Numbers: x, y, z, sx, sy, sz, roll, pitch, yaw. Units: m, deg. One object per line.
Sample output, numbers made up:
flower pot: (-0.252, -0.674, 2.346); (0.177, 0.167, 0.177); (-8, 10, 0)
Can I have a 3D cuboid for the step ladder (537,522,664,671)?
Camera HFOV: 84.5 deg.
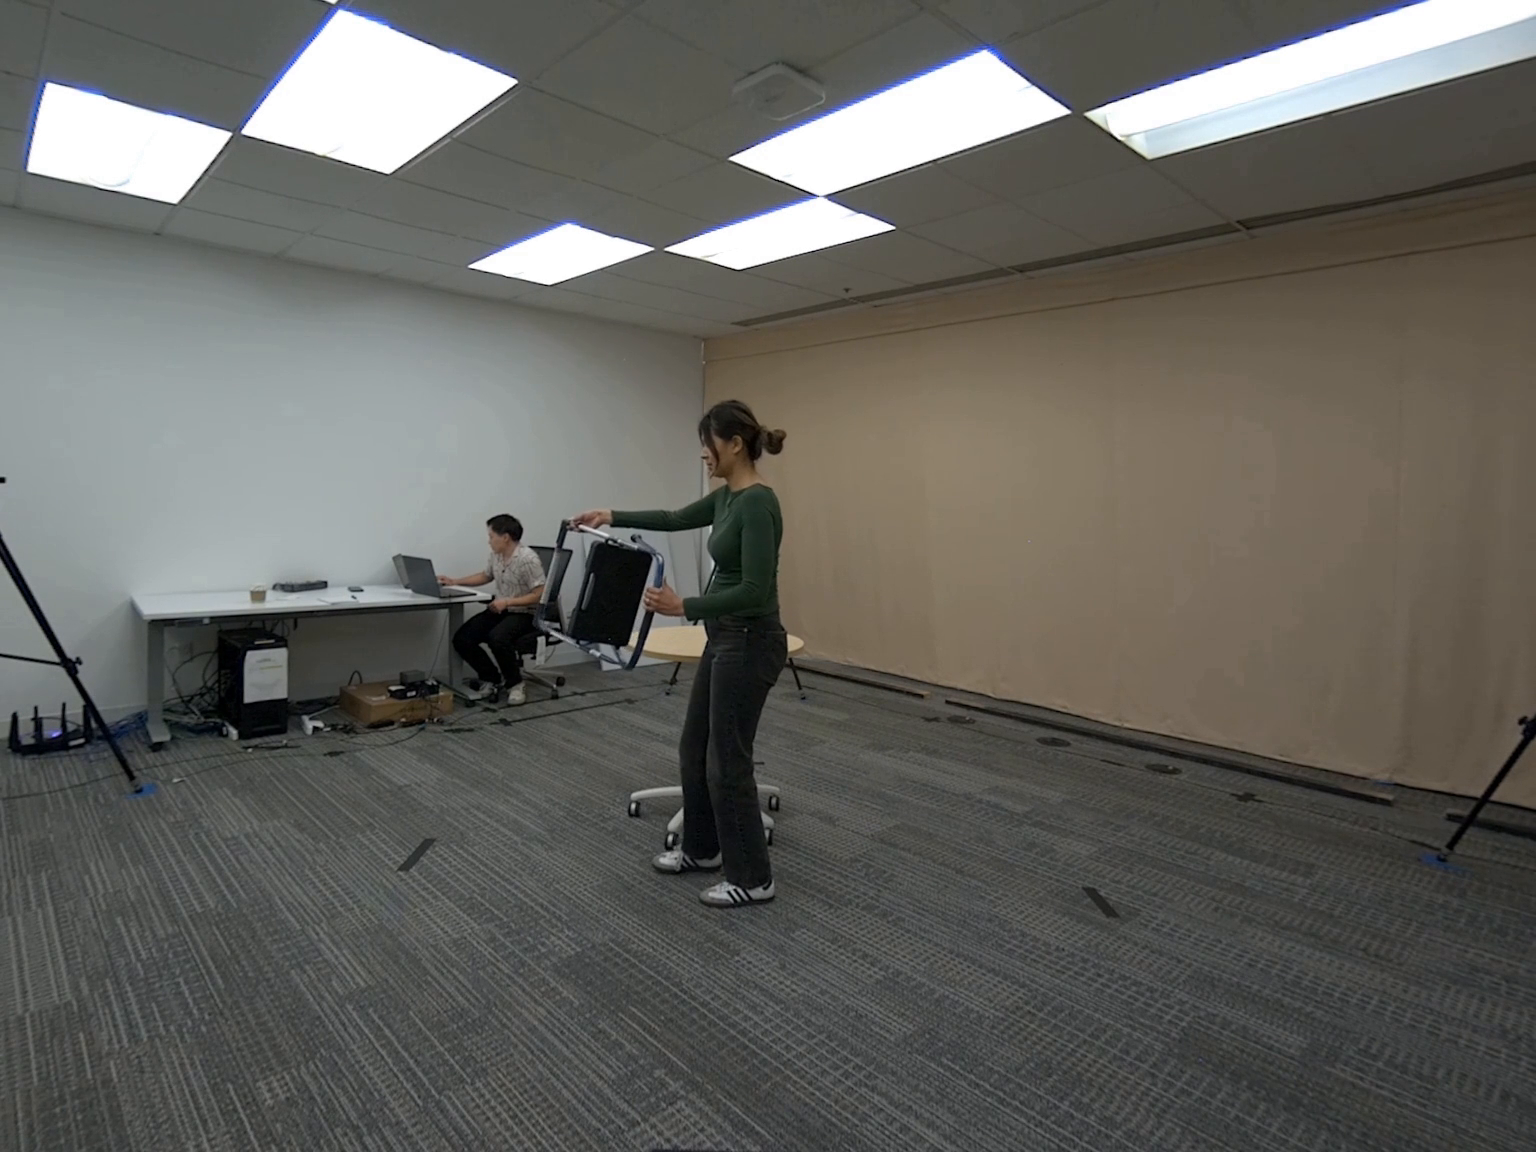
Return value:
step ladder: (-0.506, 0.086, 2.957); (0.340, 0.430, 0.623); (13, 3, -38)
